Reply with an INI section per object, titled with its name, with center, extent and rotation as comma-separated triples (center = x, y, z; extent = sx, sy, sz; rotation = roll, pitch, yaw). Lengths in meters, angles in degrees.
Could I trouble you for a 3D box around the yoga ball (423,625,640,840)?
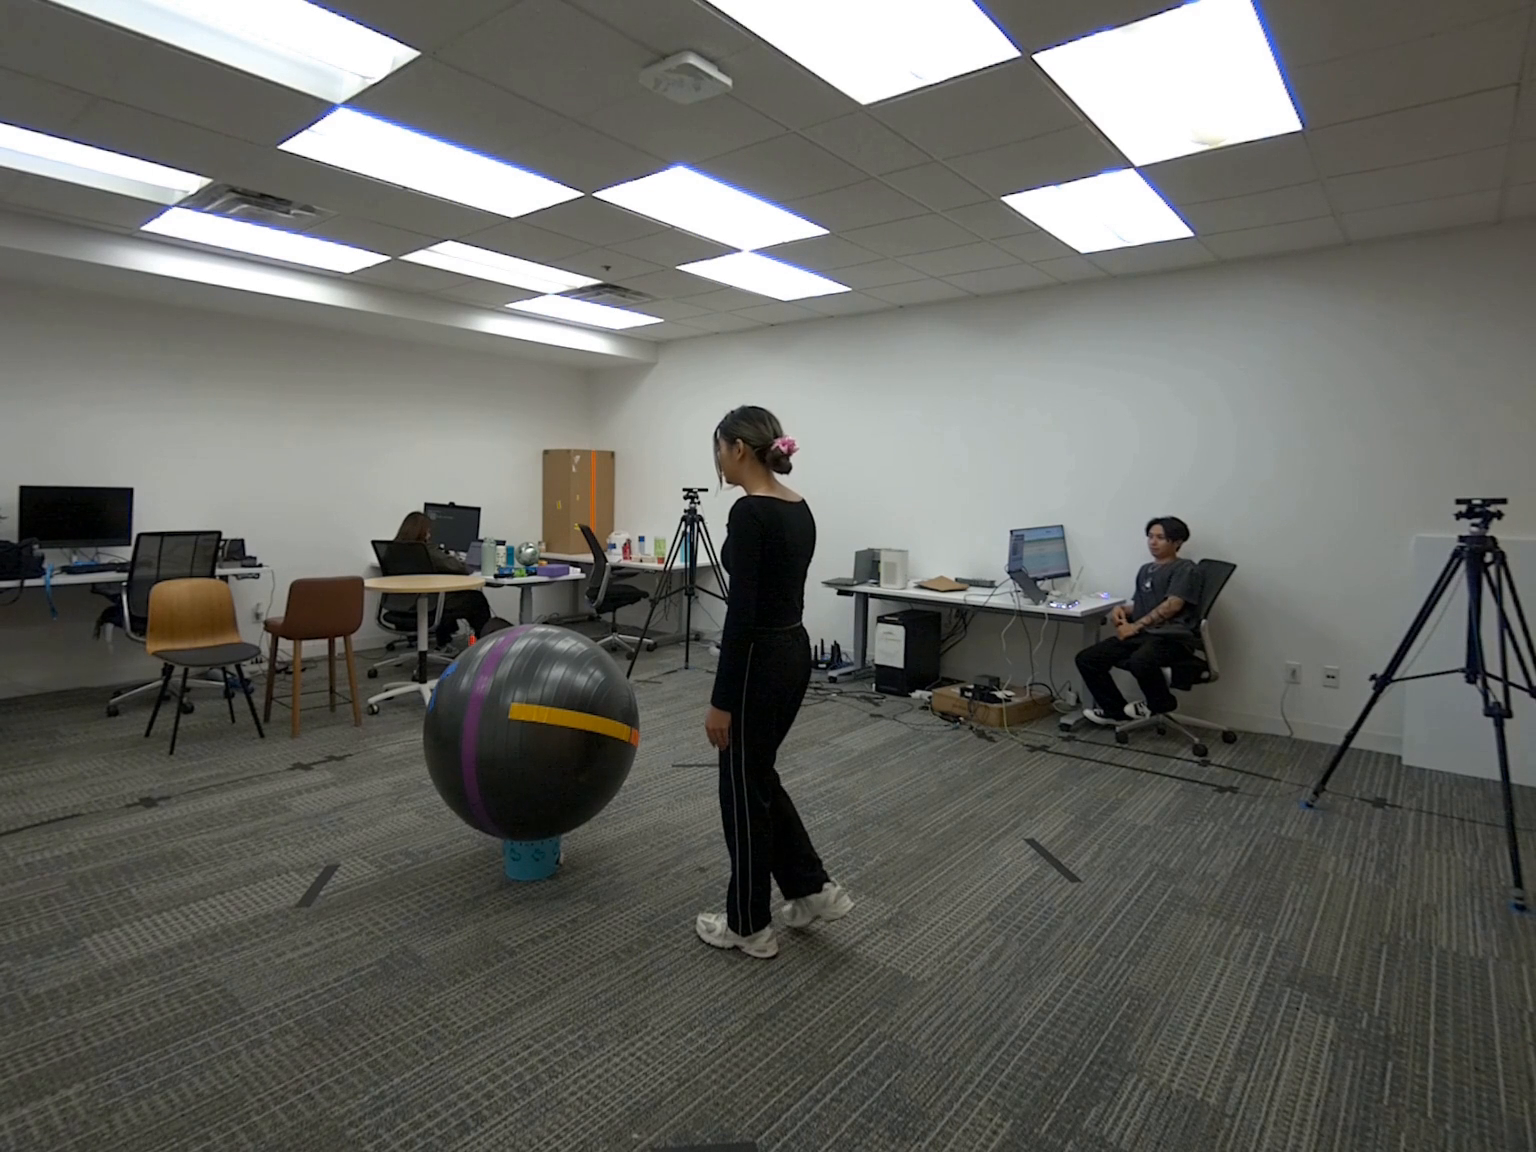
[yoga ball]
center = -0.857, 0.556, 3.063
extent = 0.757, 0.755, 0.762
rotation = 1, 4, -2
